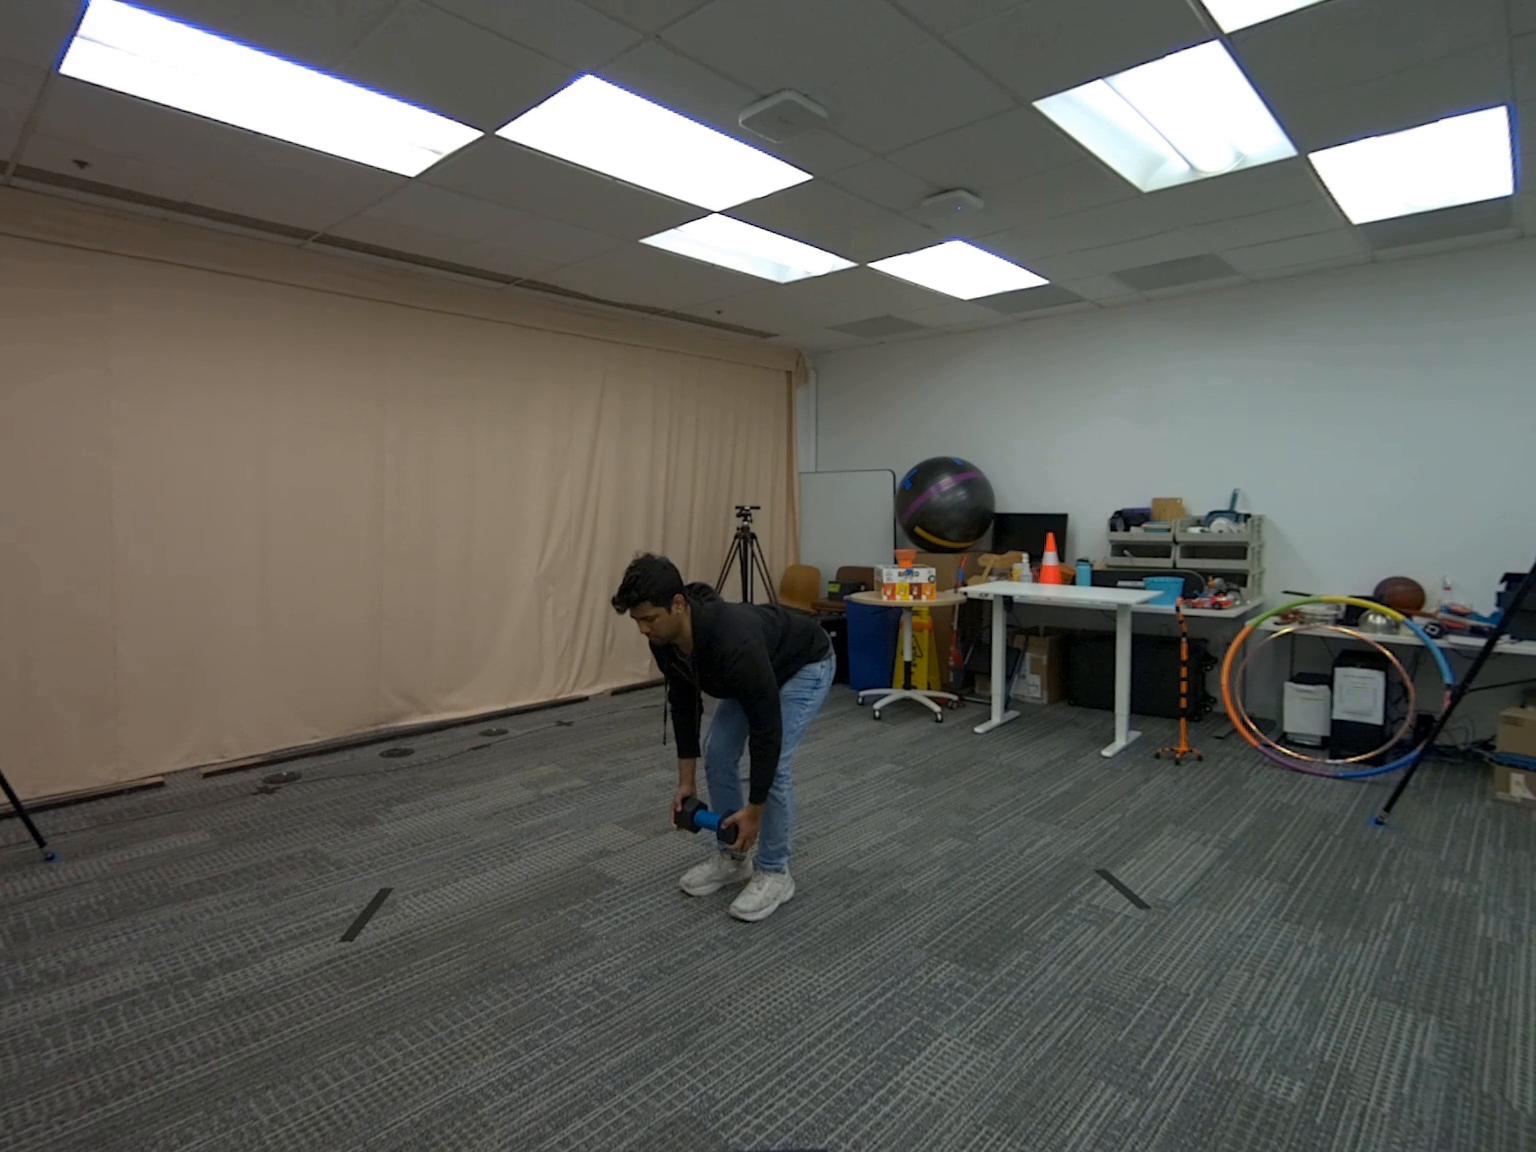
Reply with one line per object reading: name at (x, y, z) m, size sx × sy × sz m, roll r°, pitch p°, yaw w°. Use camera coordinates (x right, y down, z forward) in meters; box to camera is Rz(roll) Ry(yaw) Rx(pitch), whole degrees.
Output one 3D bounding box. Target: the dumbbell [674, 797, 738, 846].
dumbbell at (-0.184, 0.840, 2.893) m, size 0.303 × 0.109 × 0.118 m, roll 2°, pitch -28°, yaw 42°
